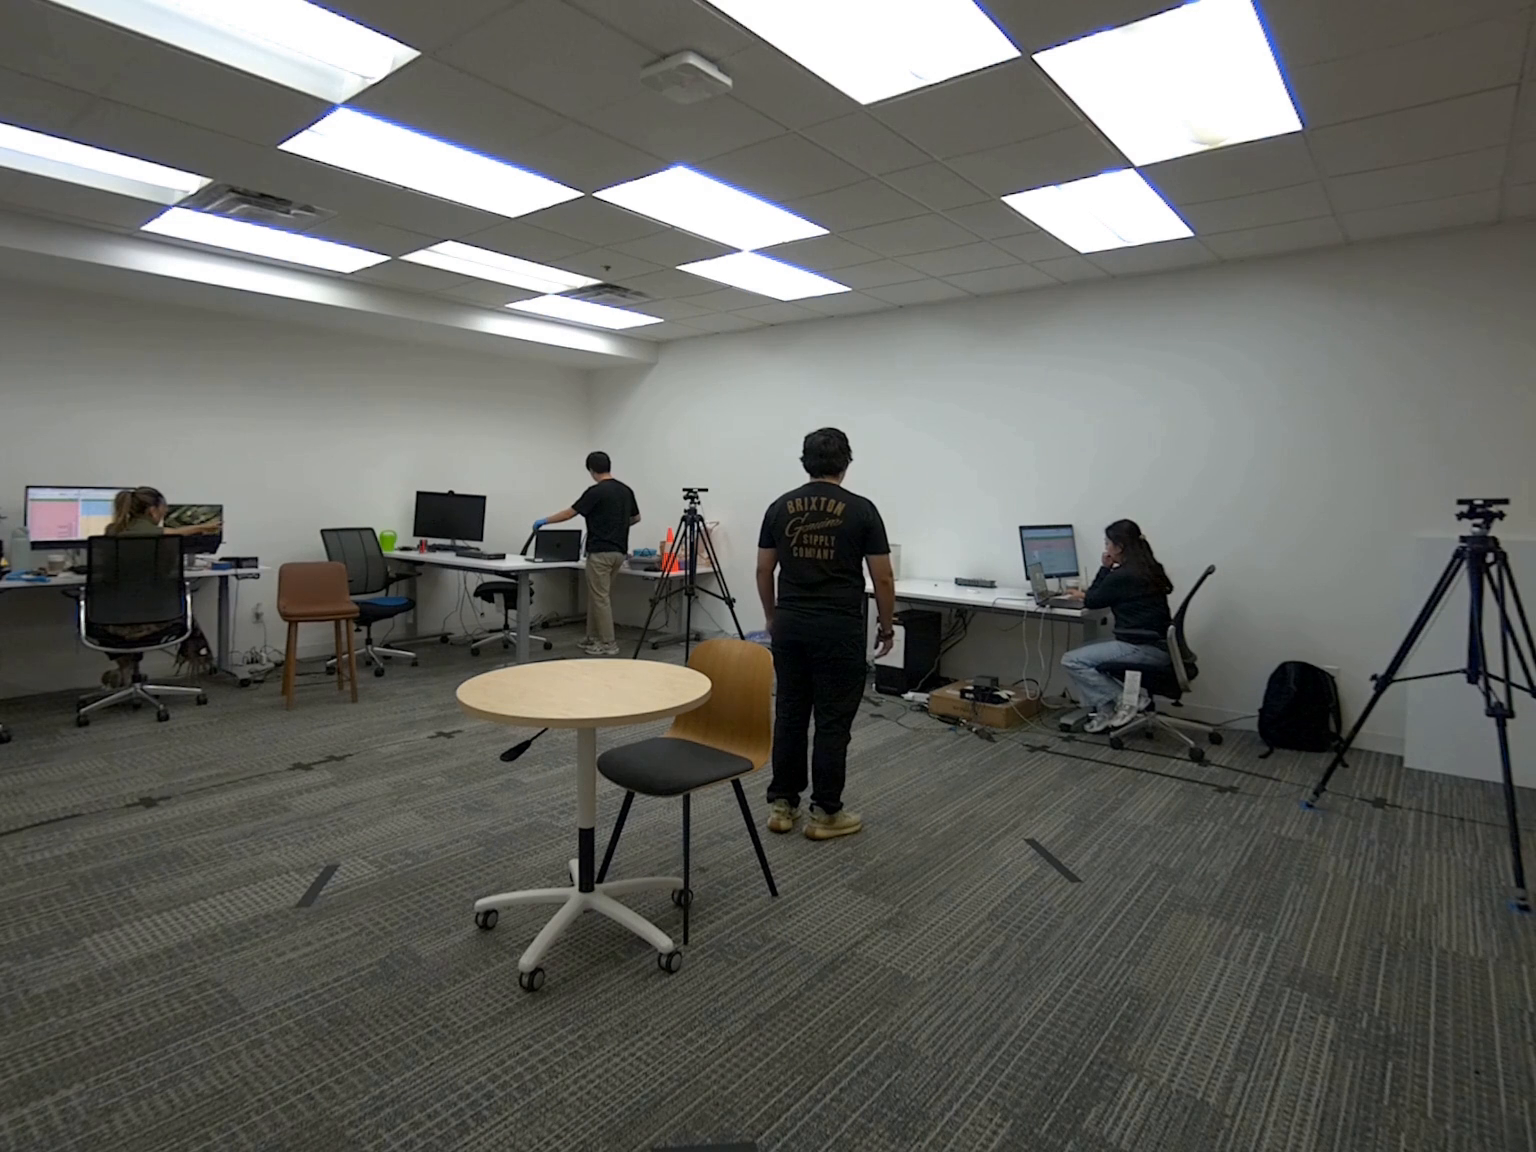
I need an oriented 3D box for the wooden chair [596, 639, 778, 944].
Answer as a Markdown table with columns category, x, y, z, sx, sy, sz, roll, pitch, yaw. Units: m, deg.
| category | x | y | z | sx | sy | sz | roll | pitch | yaw |
| --- | --- | --- | --- | --- | --- | --- | --- | --- | --- |
| wooden chair | -0.289 | 0.663 | 2.869 | 0.494 | 0.877 | 0.506 | 5 | 1 | 41 |
